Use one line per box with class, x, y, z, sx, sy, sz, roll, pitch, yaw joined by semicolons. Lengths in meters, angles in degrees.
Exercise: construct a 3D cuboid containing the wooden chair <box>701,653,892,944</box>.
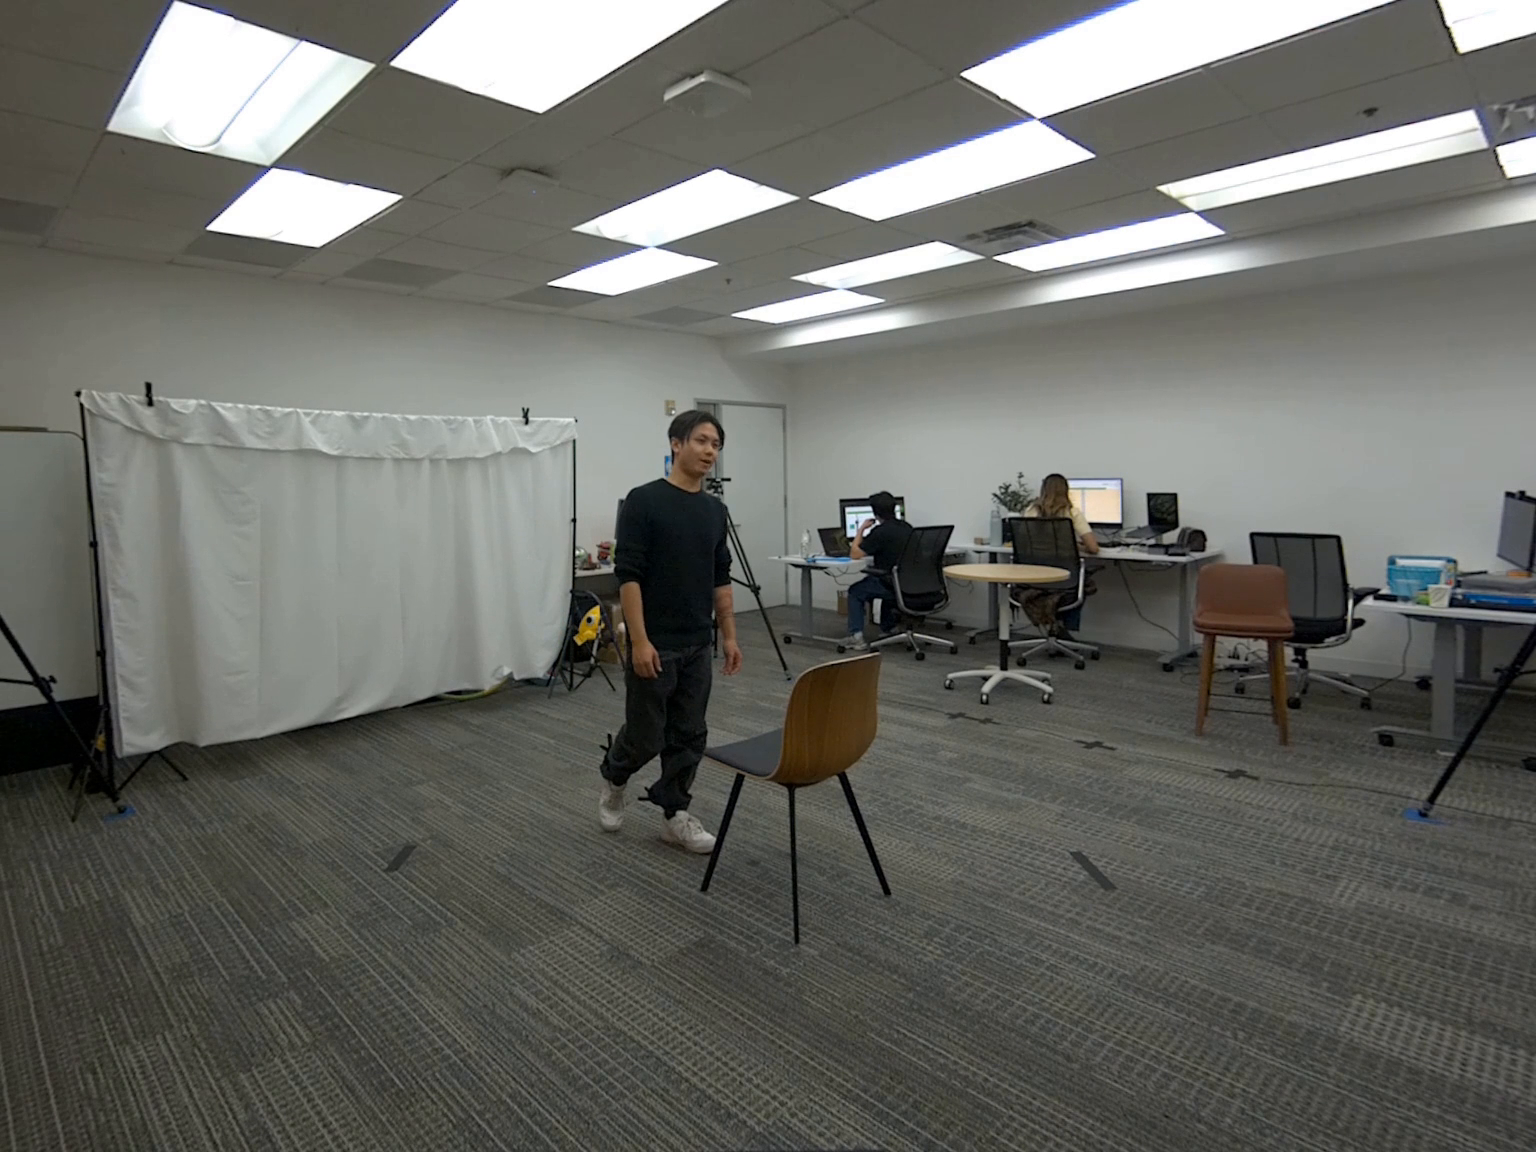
wooden chair;0.080;0.642;2.844;0.465;0.871;0.541;-5;11;-42
